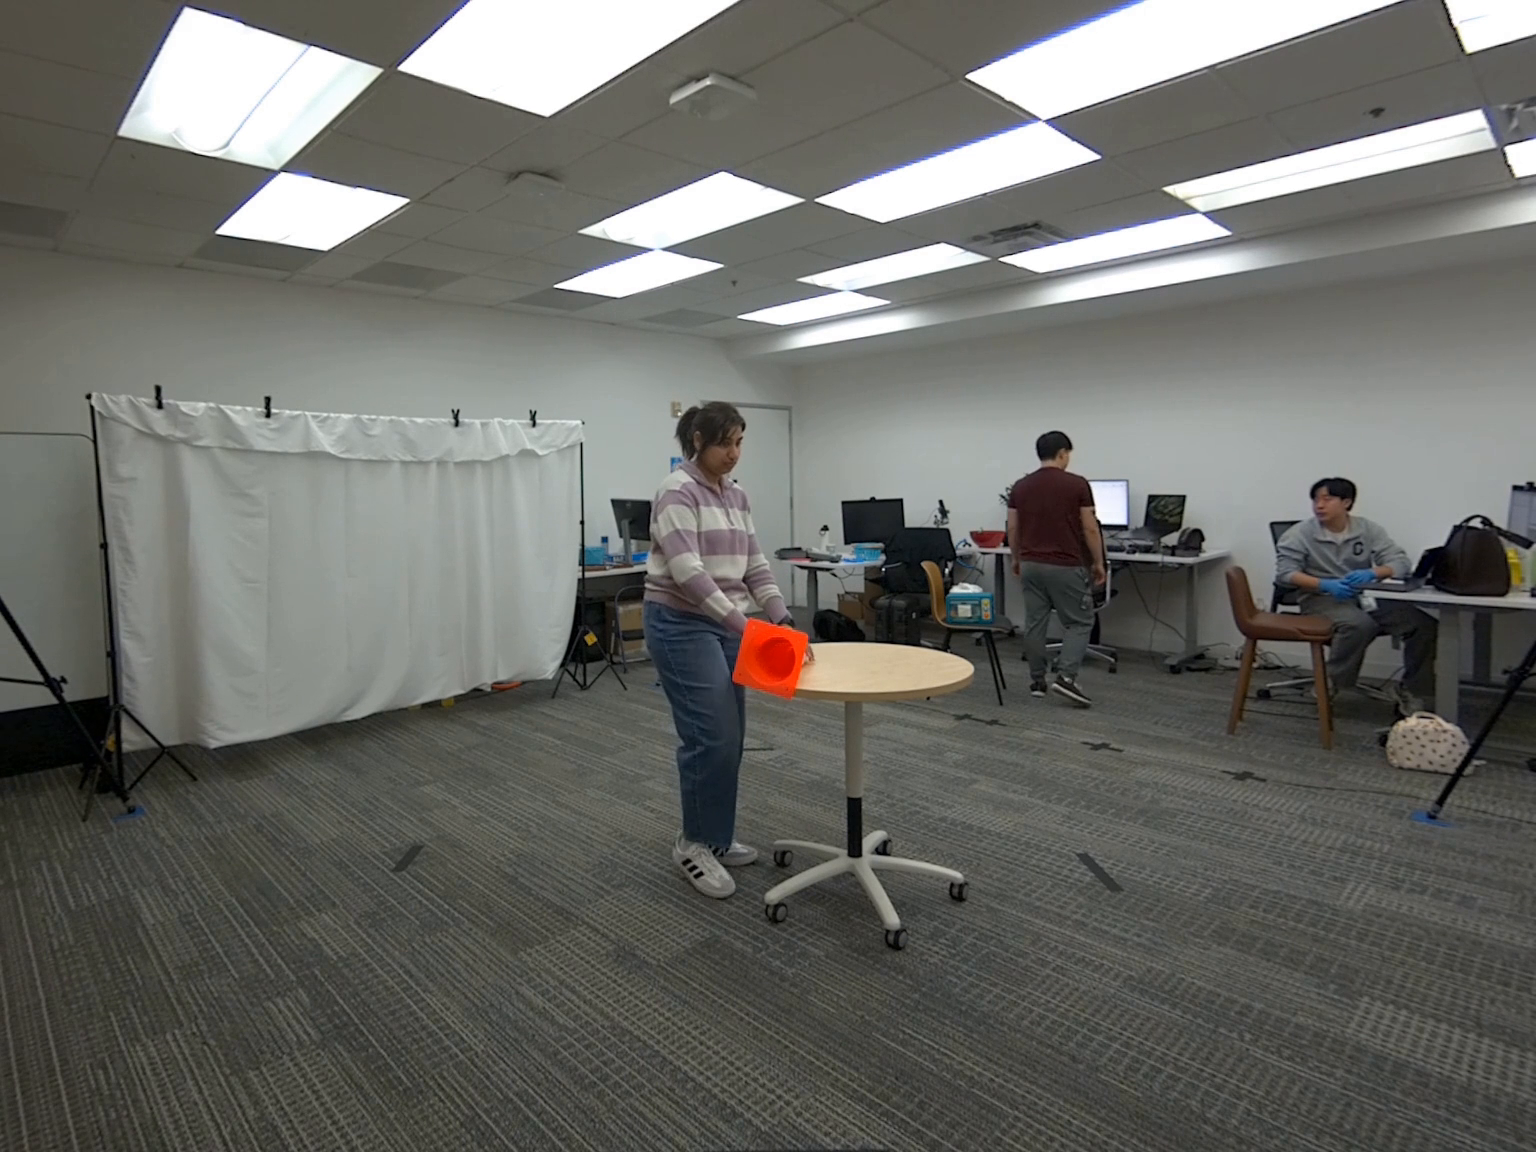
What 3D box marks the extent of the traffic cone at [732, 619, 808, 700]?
[{"bbox_3d":[0.067,0.264,2.718,0.208,0.205,0.374,18,0,21],"label":"traffic cone"}]
